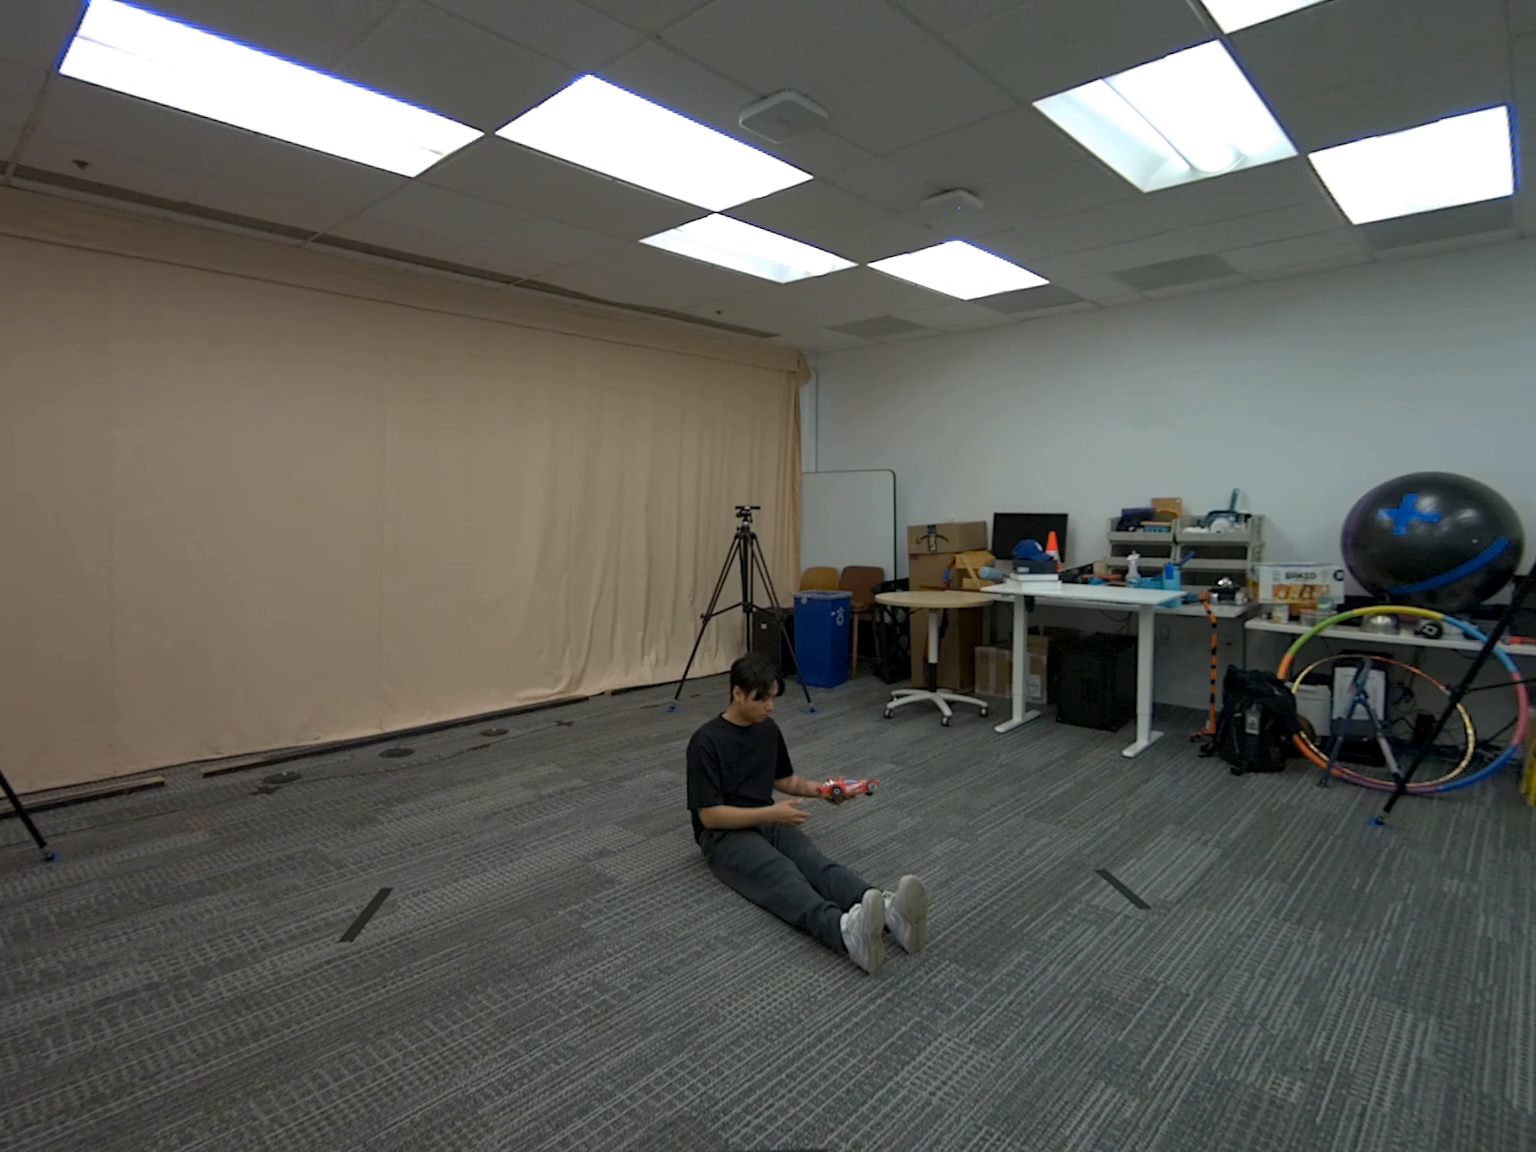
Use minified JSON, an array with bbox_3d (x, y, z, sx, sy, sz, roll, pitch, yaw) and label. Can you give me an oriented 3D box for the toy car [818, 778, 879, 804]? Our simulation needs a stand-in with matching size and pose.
[{"bbox_3d":[0.305,0.860,3.365,0.255,0.084,0.128,2,-23,2],"label":"toy car"}]
